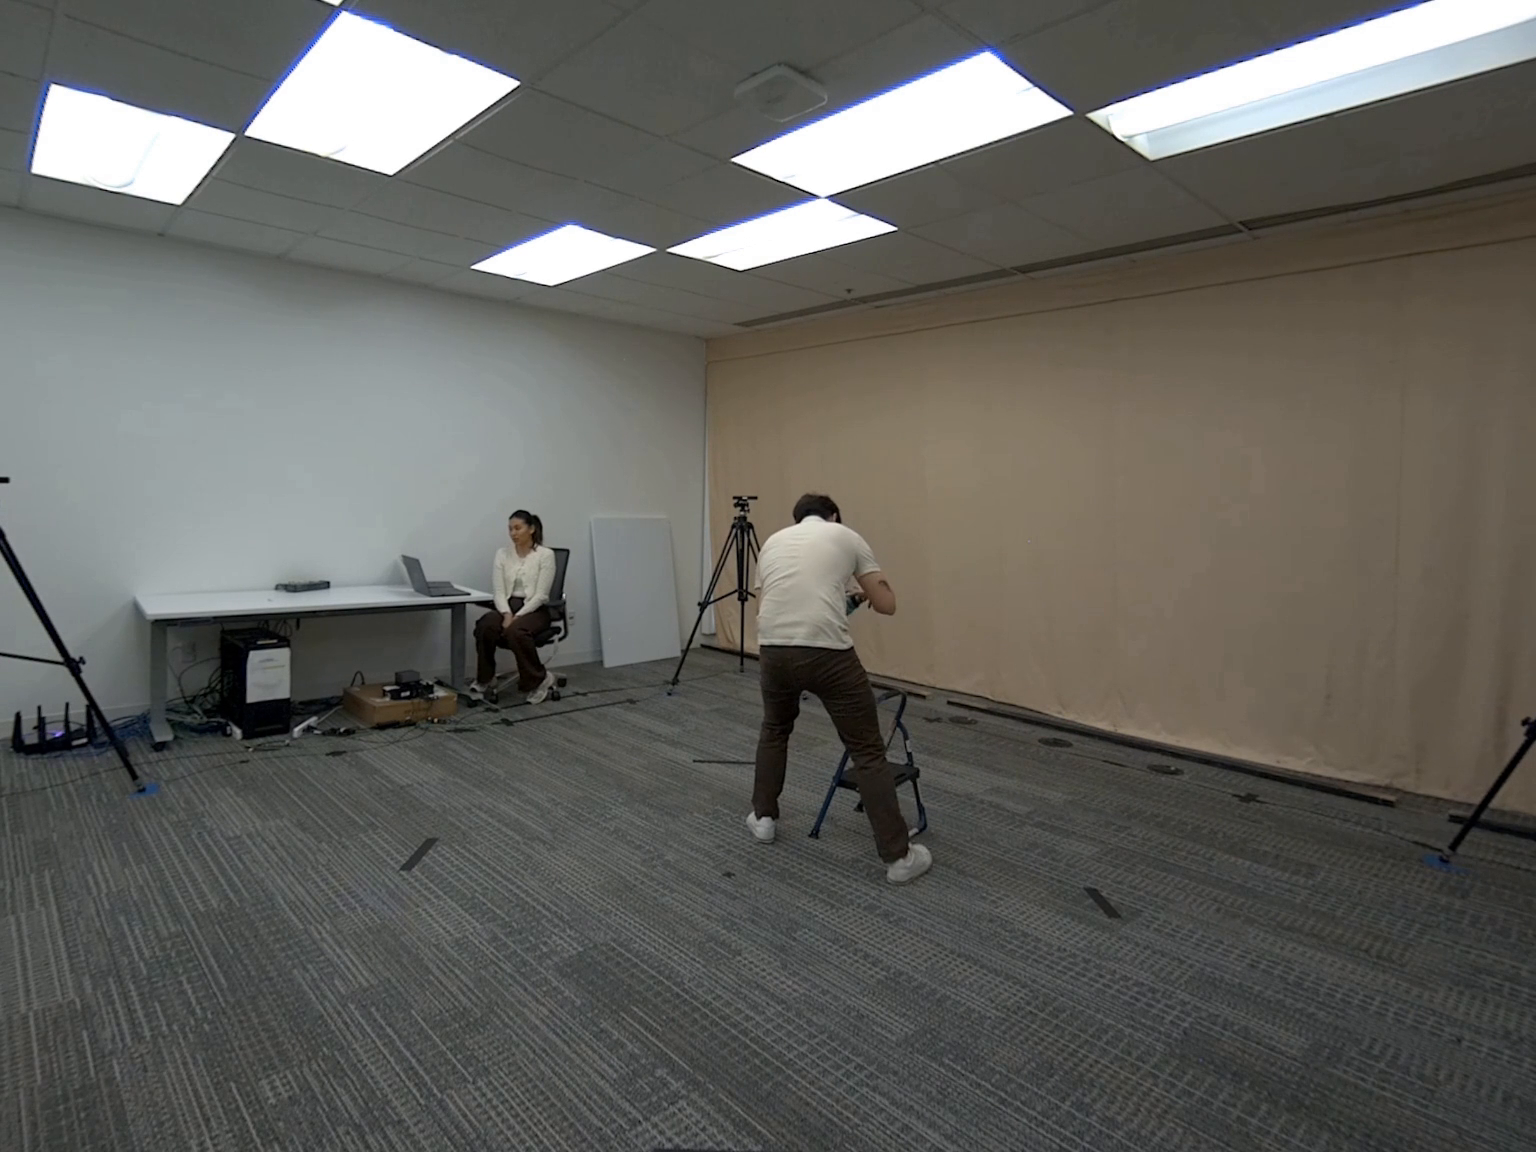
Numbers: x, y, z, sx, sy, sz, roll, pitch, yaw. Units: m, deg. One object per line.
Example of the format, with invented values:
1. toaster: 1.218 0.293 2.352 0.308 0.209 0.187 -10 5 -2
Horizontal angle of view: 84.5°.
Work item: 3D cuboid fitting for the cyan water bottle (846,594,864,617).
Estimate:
1. cyan water bottle: 0.288 0.187 3.727 0.284 0.093 0.091 -39 -10 19
